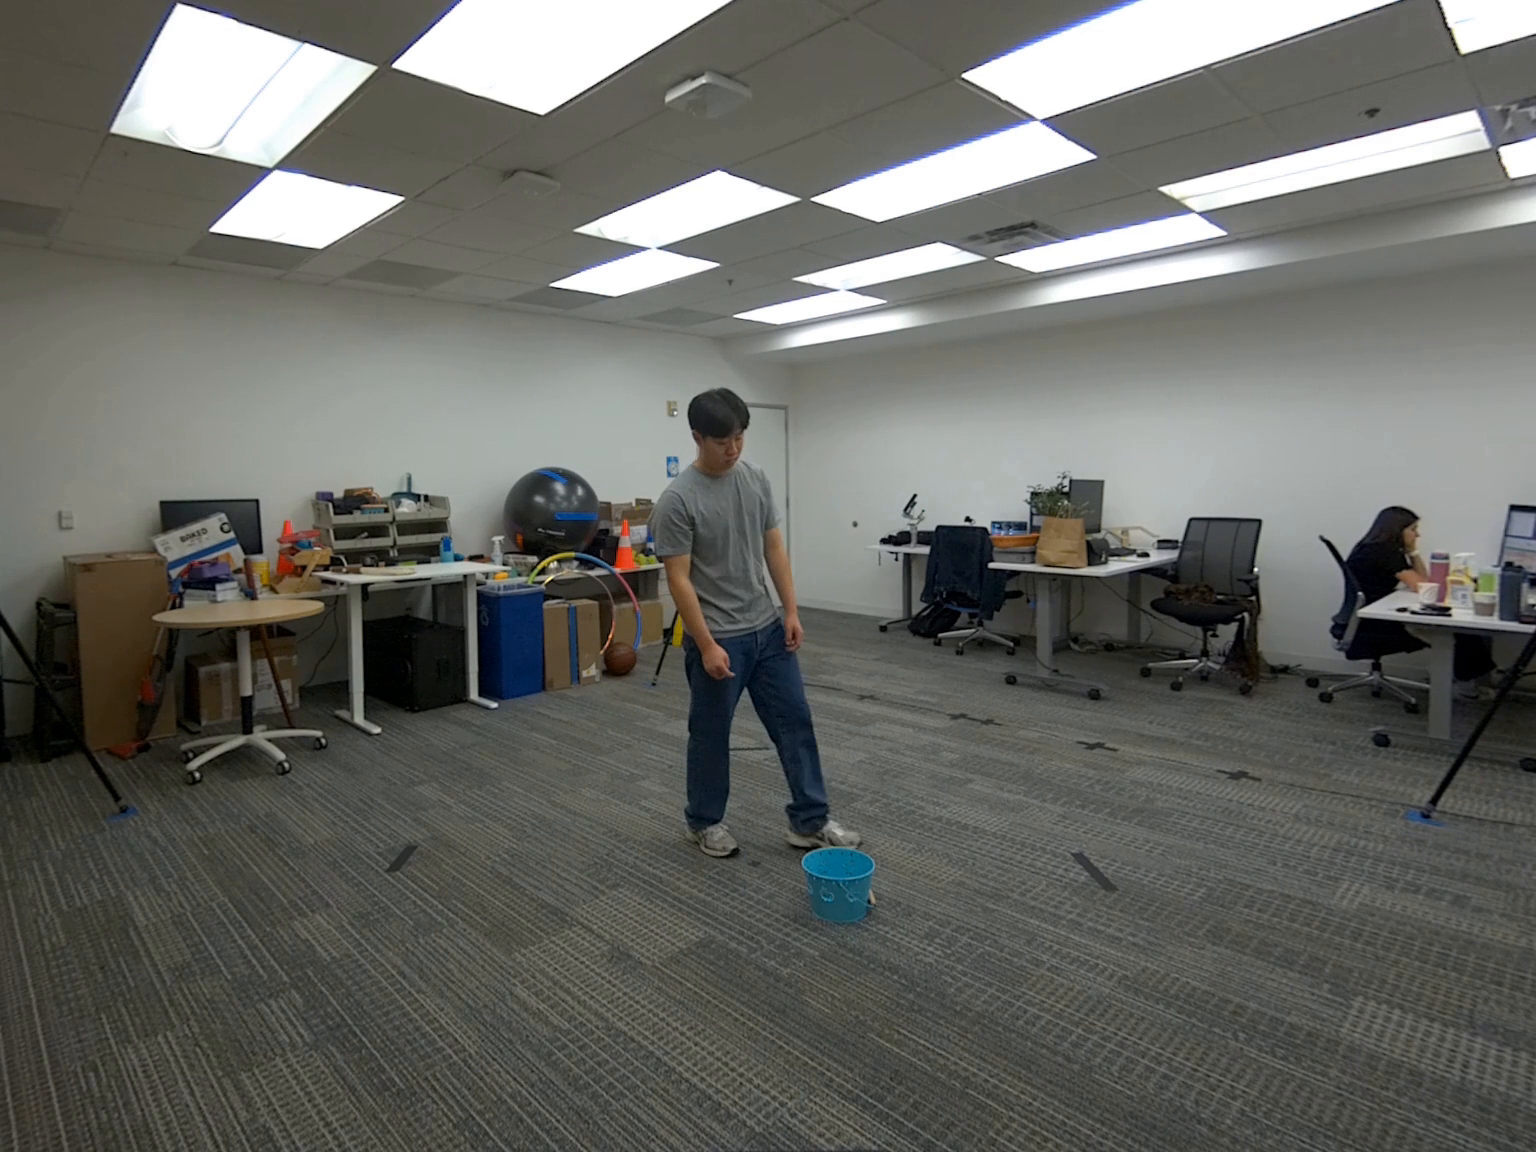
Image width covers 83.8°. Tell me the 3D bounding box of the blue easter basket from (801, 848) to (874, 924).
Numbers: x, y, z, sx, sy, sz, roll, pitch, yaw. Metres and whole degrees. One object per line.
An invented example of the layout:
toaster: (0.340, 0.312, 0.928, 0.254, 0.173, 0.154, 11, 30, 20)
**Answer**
blue easter basket: (0.236, 1.003, 2.761, 0.243, 0.155, 0.245, -2, 6, -2)
